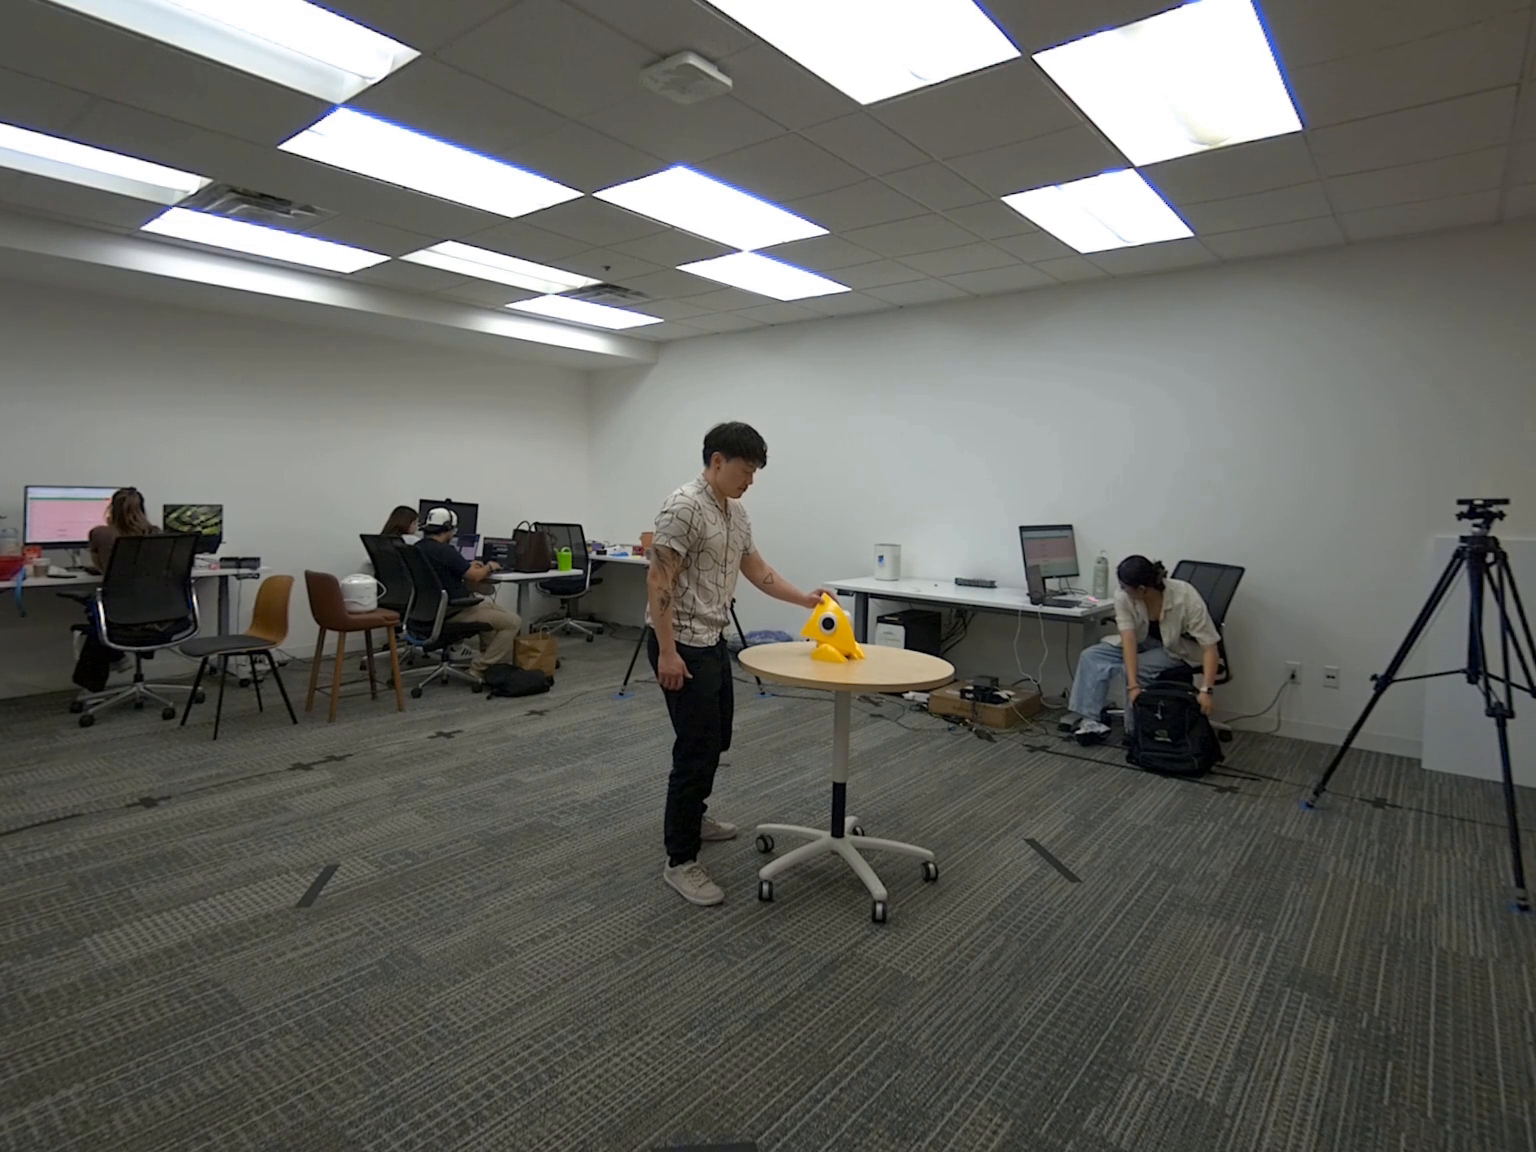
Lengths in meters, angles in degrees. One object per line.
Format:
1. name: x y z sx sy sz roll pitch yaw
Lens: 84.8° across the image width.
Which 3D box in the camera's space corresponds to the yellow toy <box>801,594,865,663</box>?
1. yellow toy: 0.243 0.183 3.116 0.200 0.230 0.198 5 4 42
